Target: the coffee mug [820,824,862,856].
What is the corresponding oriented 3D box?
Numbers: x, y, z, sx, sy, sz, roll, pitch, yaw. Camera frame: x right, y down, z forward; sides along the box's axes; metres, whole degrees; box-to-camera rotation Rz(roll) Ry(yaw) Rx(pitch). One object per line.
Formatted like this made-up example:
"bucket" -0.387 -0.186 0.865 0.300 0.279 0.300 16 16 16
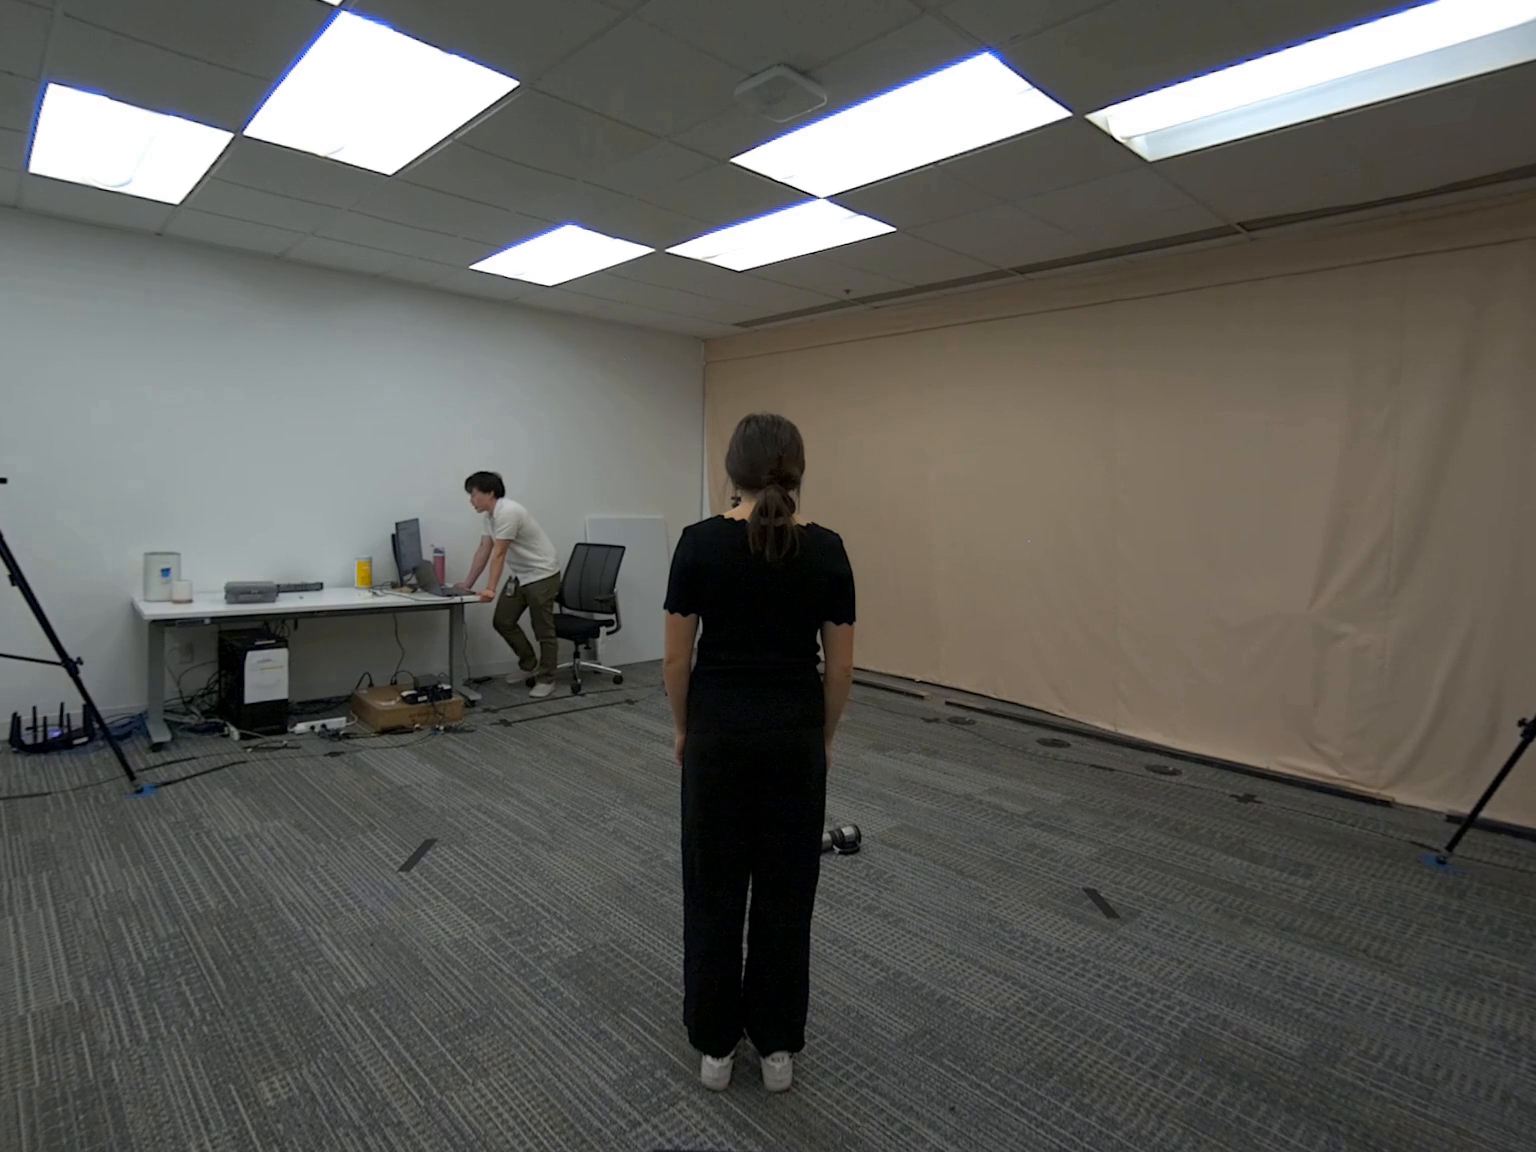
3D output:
"coffee mug" 0.264 1.047 3.345 0.199 0.088 0.123 -2 -7 -28
